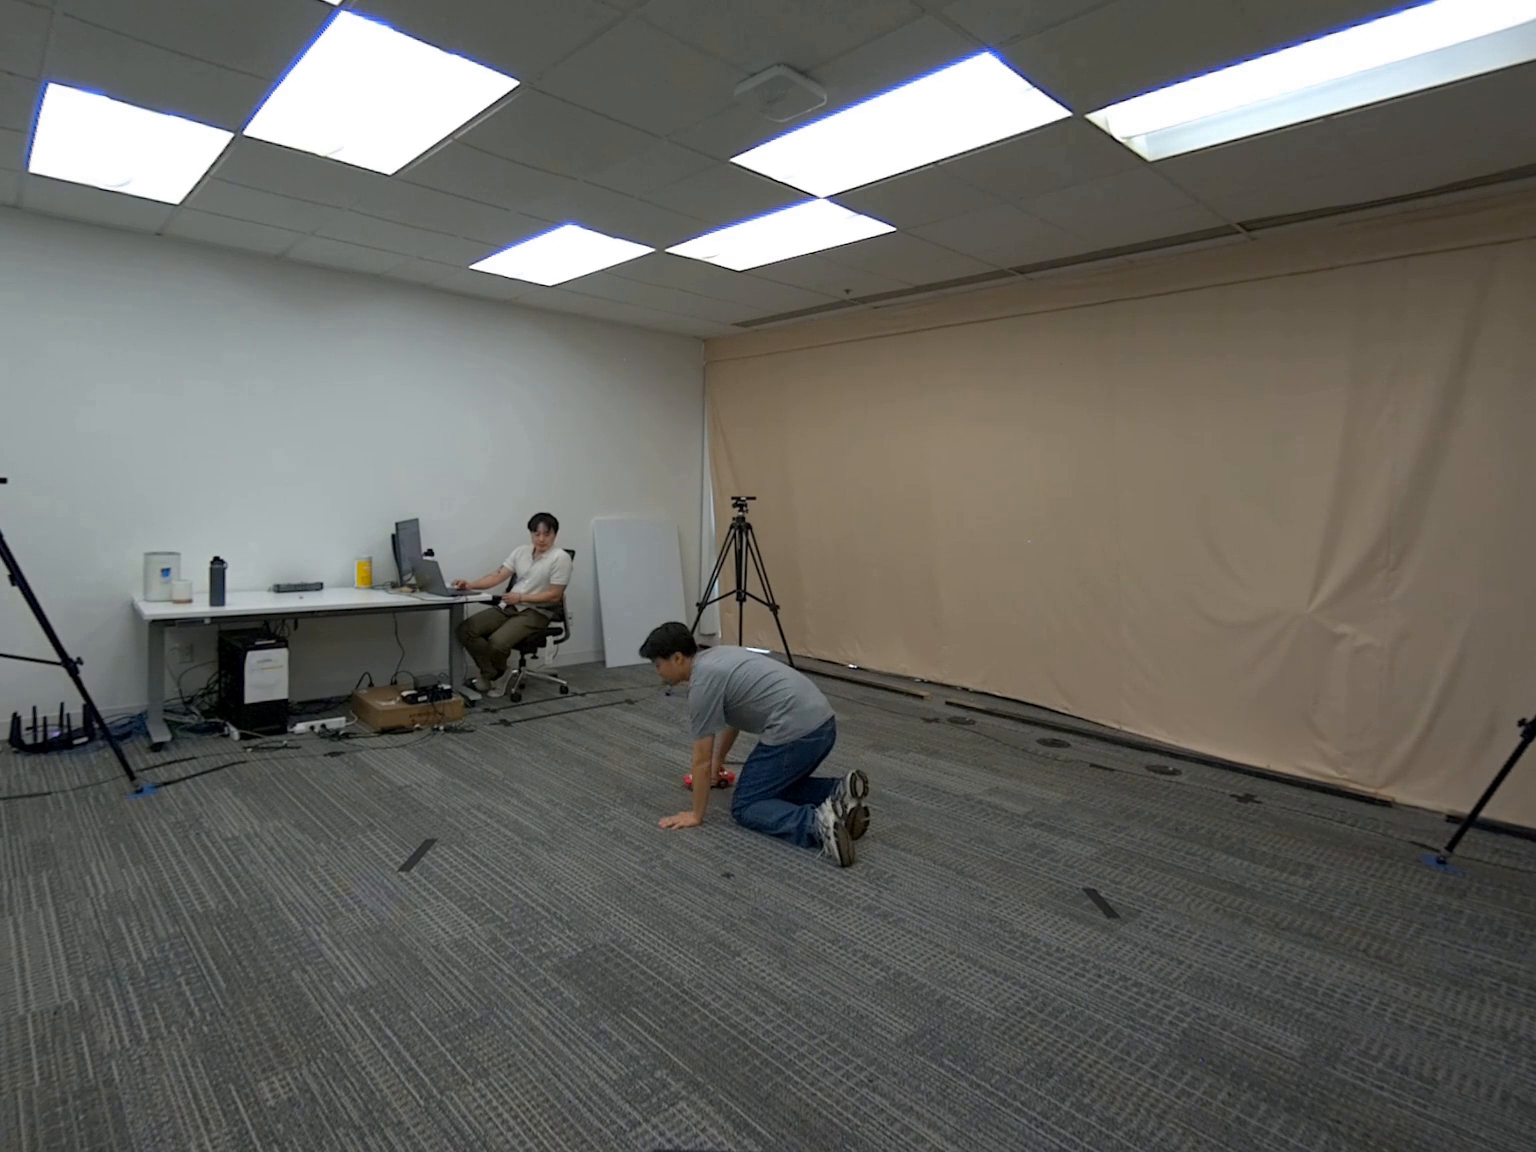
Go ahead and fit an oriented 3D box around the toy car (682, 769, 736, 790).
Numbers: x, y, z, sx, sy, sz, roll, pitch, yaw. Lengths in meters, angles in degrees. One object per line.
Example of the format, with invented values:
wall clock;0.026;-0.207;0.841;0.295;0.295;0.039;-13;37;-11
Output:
toy car;-0.292;0.987;4.076;0.252;0.083;0.132;-11;7;-14
